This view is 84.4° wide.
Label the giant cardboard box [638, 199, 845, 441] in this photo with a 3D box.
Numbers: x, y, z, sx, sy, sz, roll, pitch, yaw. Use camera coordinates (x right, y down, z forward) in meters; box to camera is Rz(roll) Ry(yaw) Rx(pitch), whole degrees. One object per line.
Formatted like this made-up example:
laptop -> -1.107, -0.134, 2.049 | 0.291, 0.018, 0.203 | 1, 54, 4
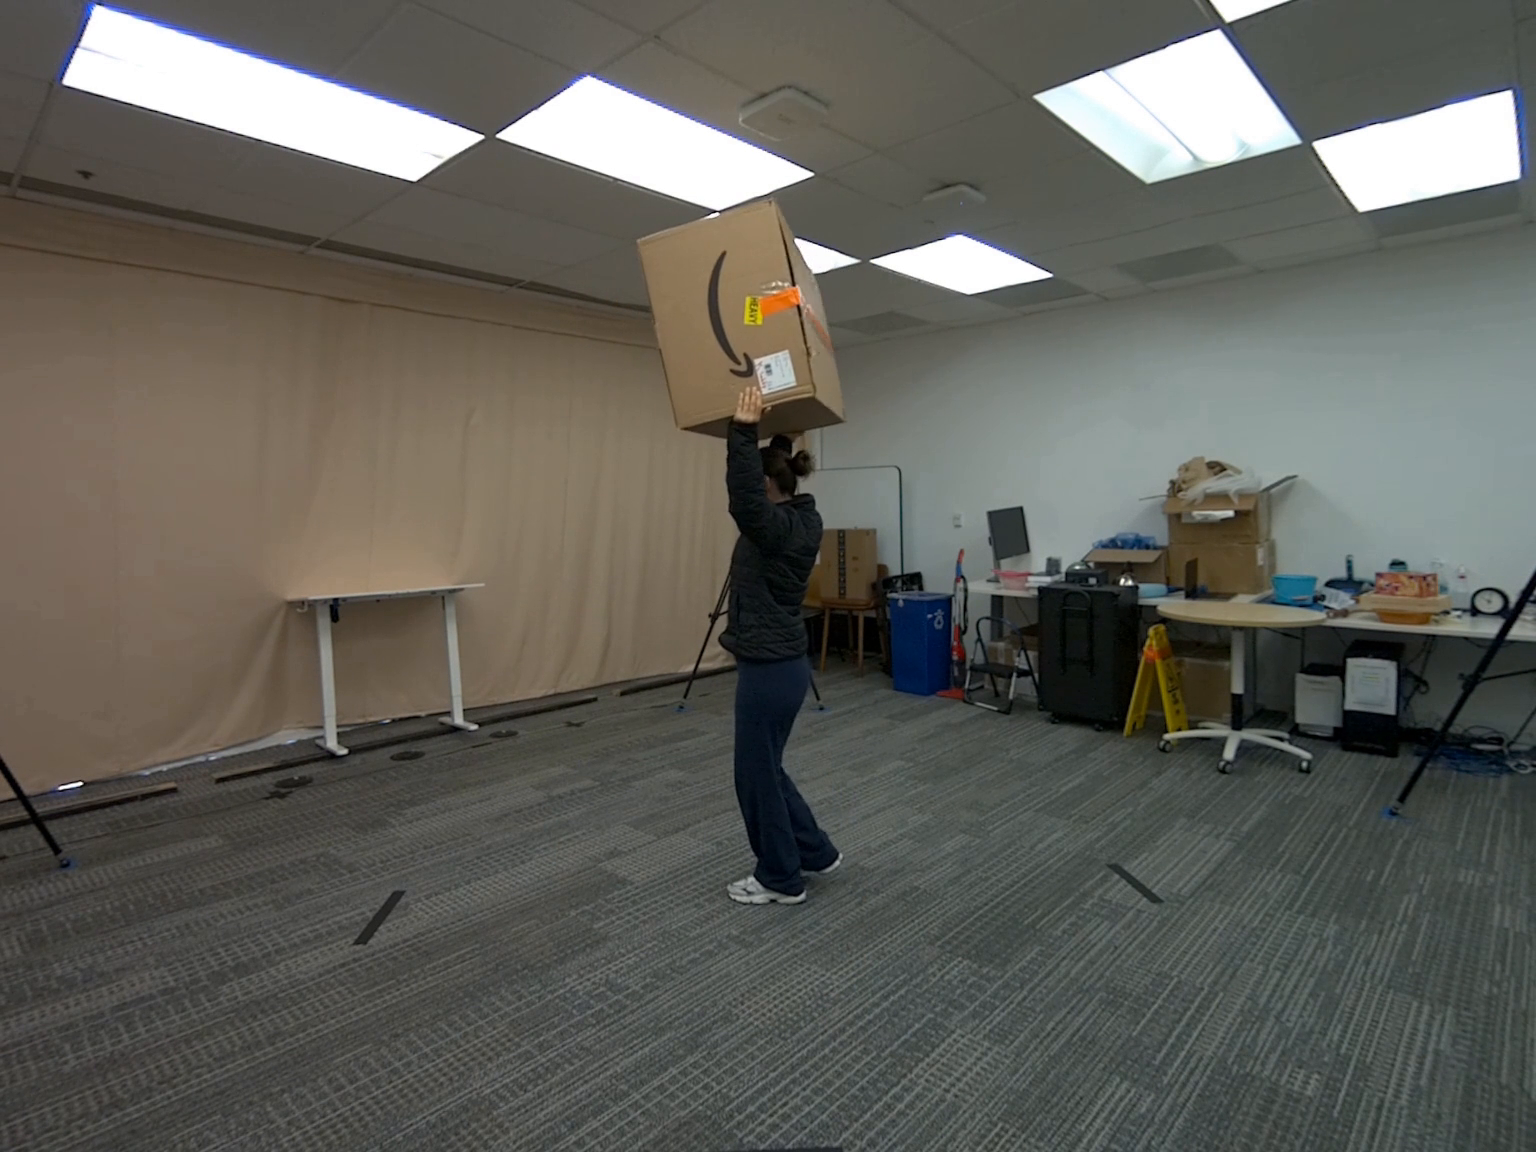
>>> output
giant cardboard box -> -0.022, -0.805, 2.925 | 0.452, 0.582, 1.018 | -11, 4, 11
